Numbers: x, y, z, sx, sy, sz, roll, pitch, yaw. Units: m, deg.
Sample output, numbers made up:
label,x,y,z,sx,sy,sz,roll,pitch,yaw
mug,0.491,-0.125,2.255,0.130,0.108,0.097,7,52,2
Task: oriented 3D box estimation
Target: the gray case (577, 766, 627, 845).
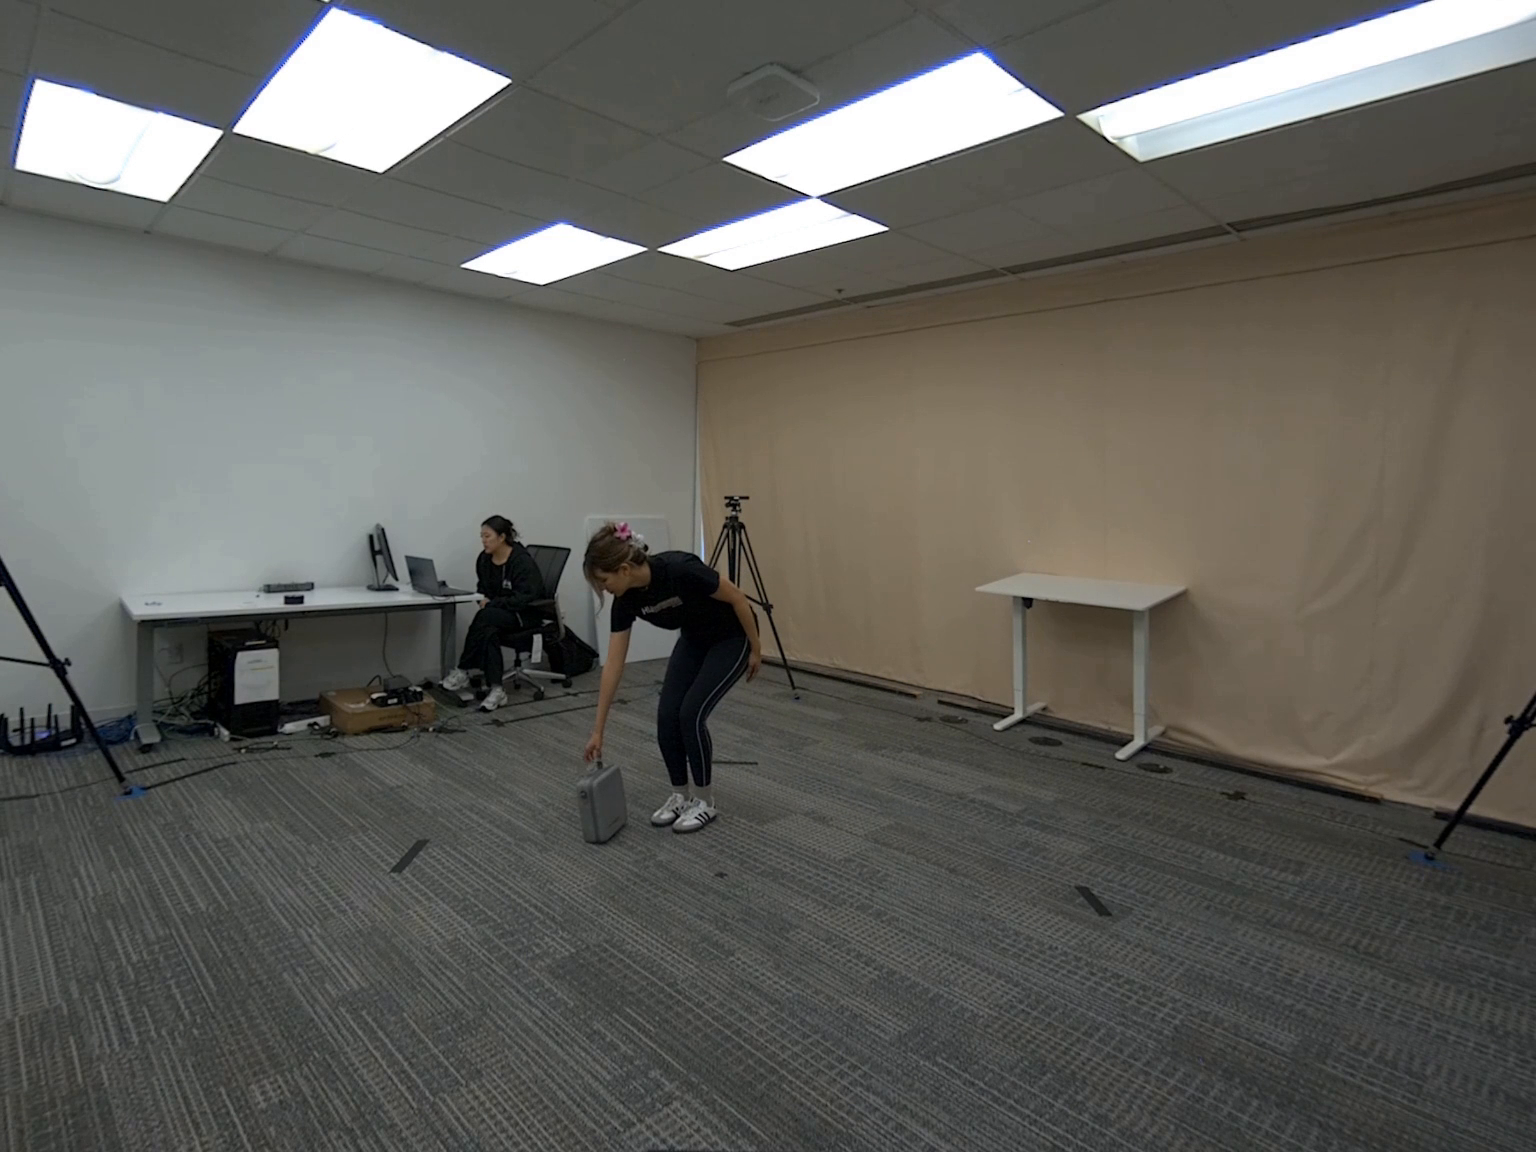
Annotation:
label,x,y,z,sx,sy,sz,roll,pitch,yaw
gray case,-0.691,0.929,3.458,0.105,0.260,0.254,-8,1,15
